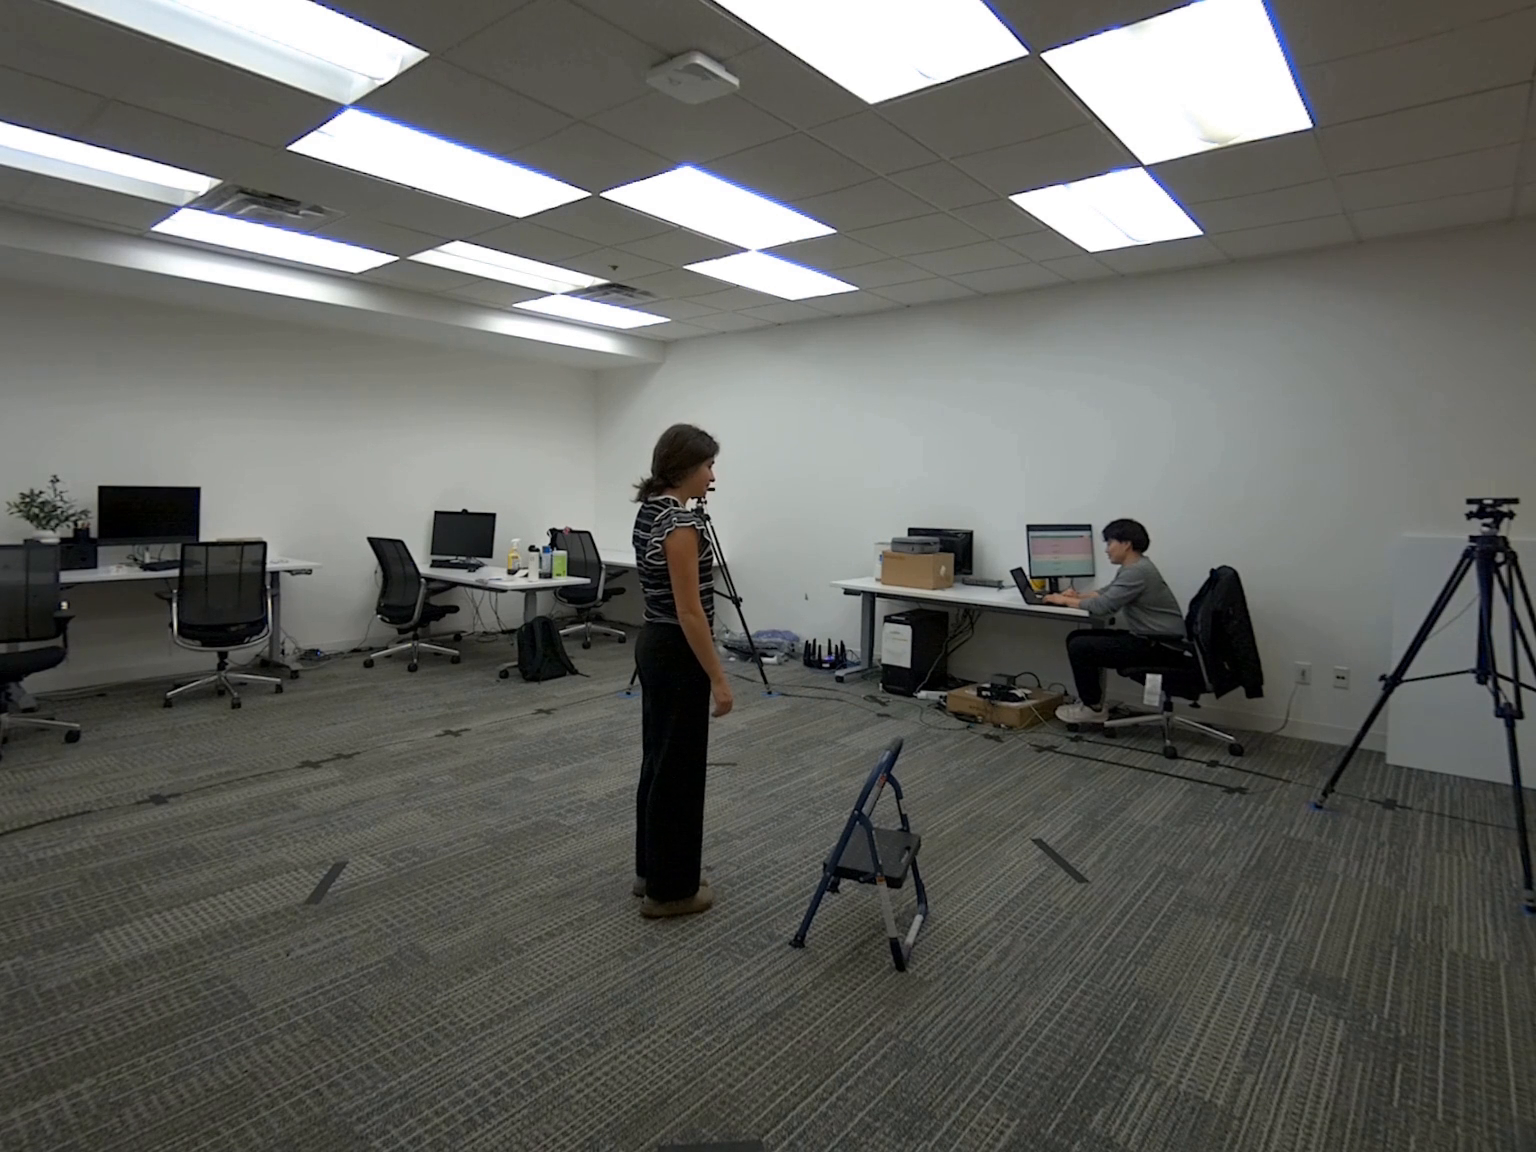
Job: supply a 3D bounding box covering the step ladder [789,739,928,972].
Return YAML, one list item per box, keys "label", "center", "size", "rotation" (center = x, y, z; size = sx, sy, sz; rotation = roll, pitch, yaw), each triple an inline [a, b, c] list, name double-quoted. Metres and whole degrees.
- label: "step ladder"
  center: [0.306, 0.818, 2.700]
  size: [0.357, 0.604, 0.422]
  rotation: [3, 4, 21]
